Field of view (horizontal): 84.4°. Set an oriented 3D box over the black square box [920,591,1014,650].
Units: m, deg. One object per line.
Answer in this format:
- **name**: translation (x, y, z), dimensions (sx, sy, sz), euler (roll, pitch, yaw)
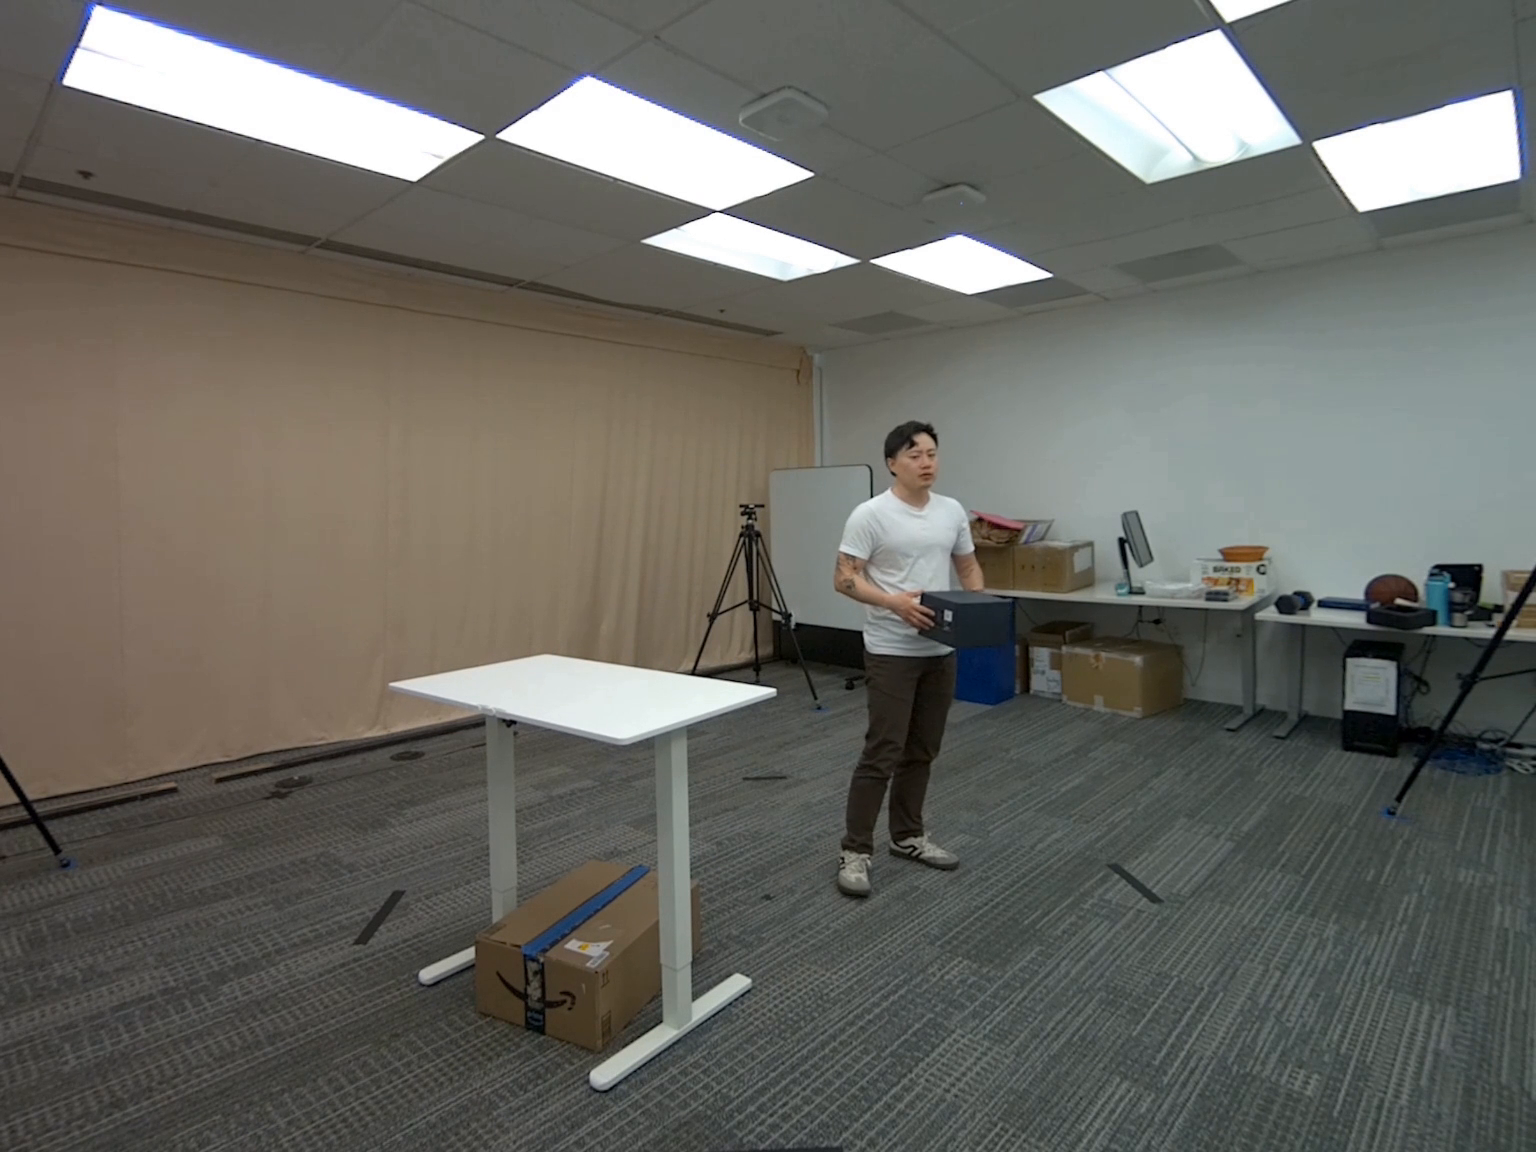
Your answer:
- **black square box**: translation (0.677, 0.142, 2.900), dimensions (0.223, 0.155, 0.222), euler (-1, 9, -21)
